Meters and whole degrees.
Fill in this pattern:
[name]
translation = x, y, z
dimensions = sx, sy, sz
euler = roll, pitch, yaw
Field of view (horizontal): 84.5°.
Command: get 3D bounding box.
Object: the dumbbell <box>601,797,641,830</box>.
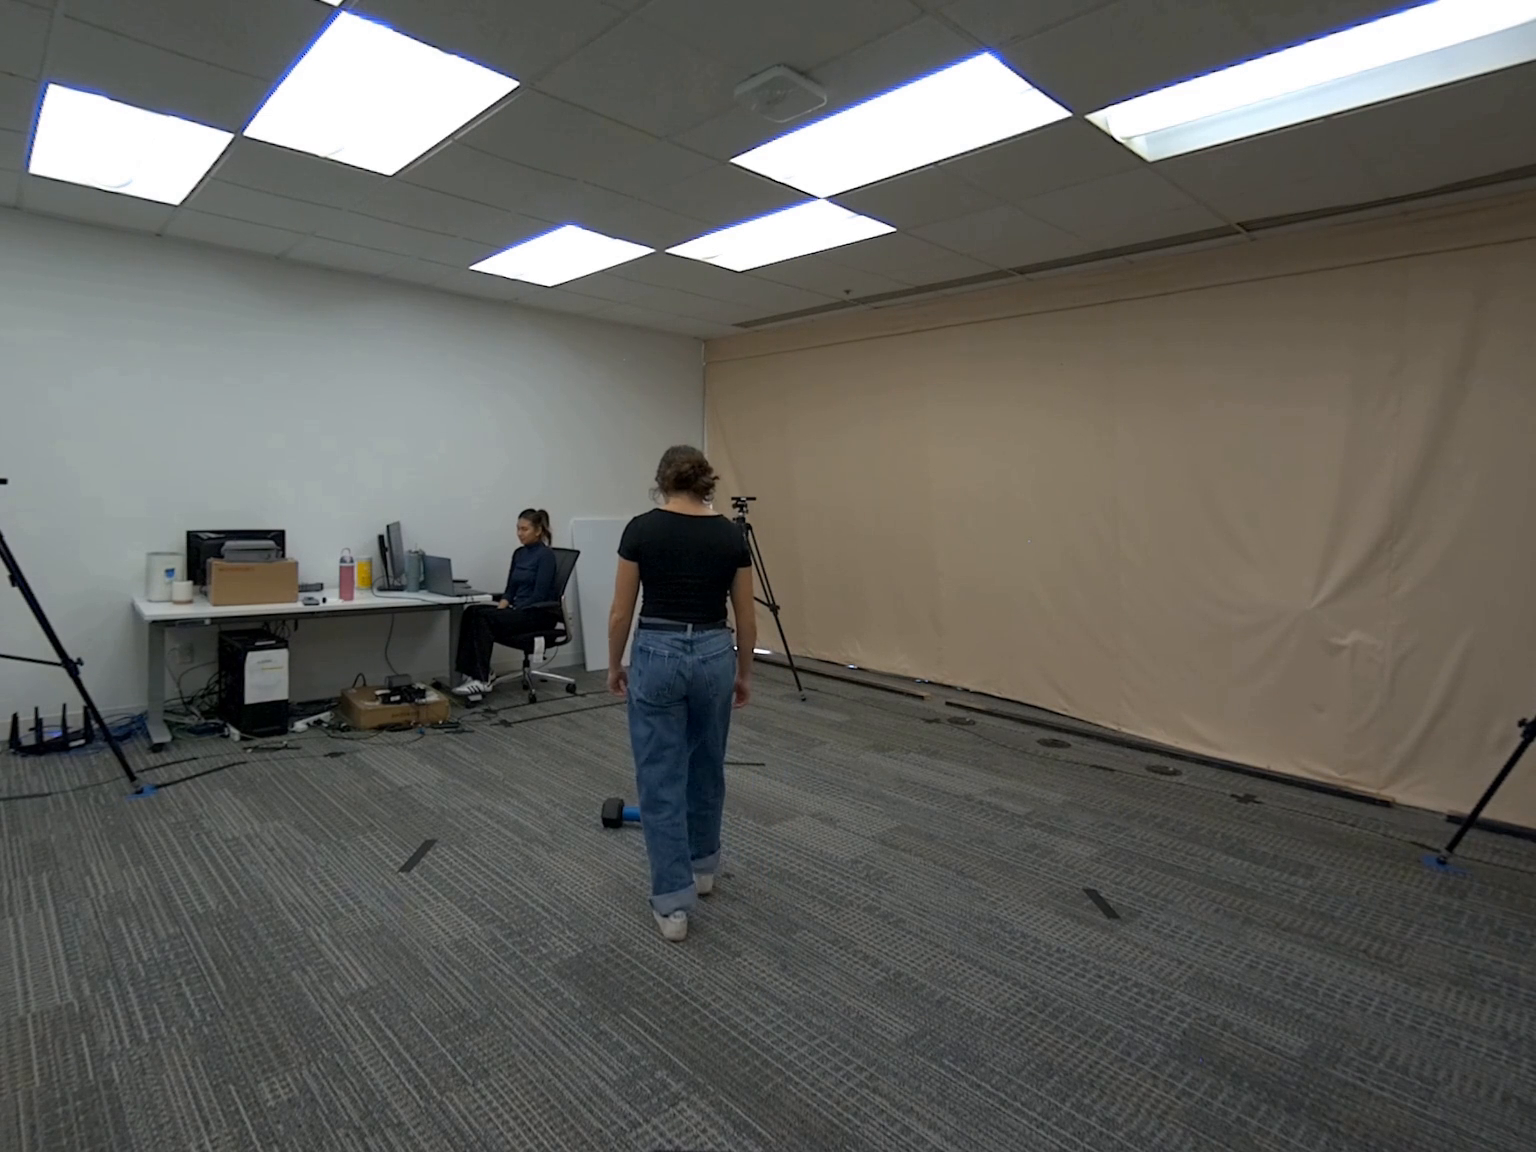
[dumbbell]
translation = -0.557, 1.007, 3.543
dimensions = 0.295, 0.125, 0.106
euler = 2, -25, 6
